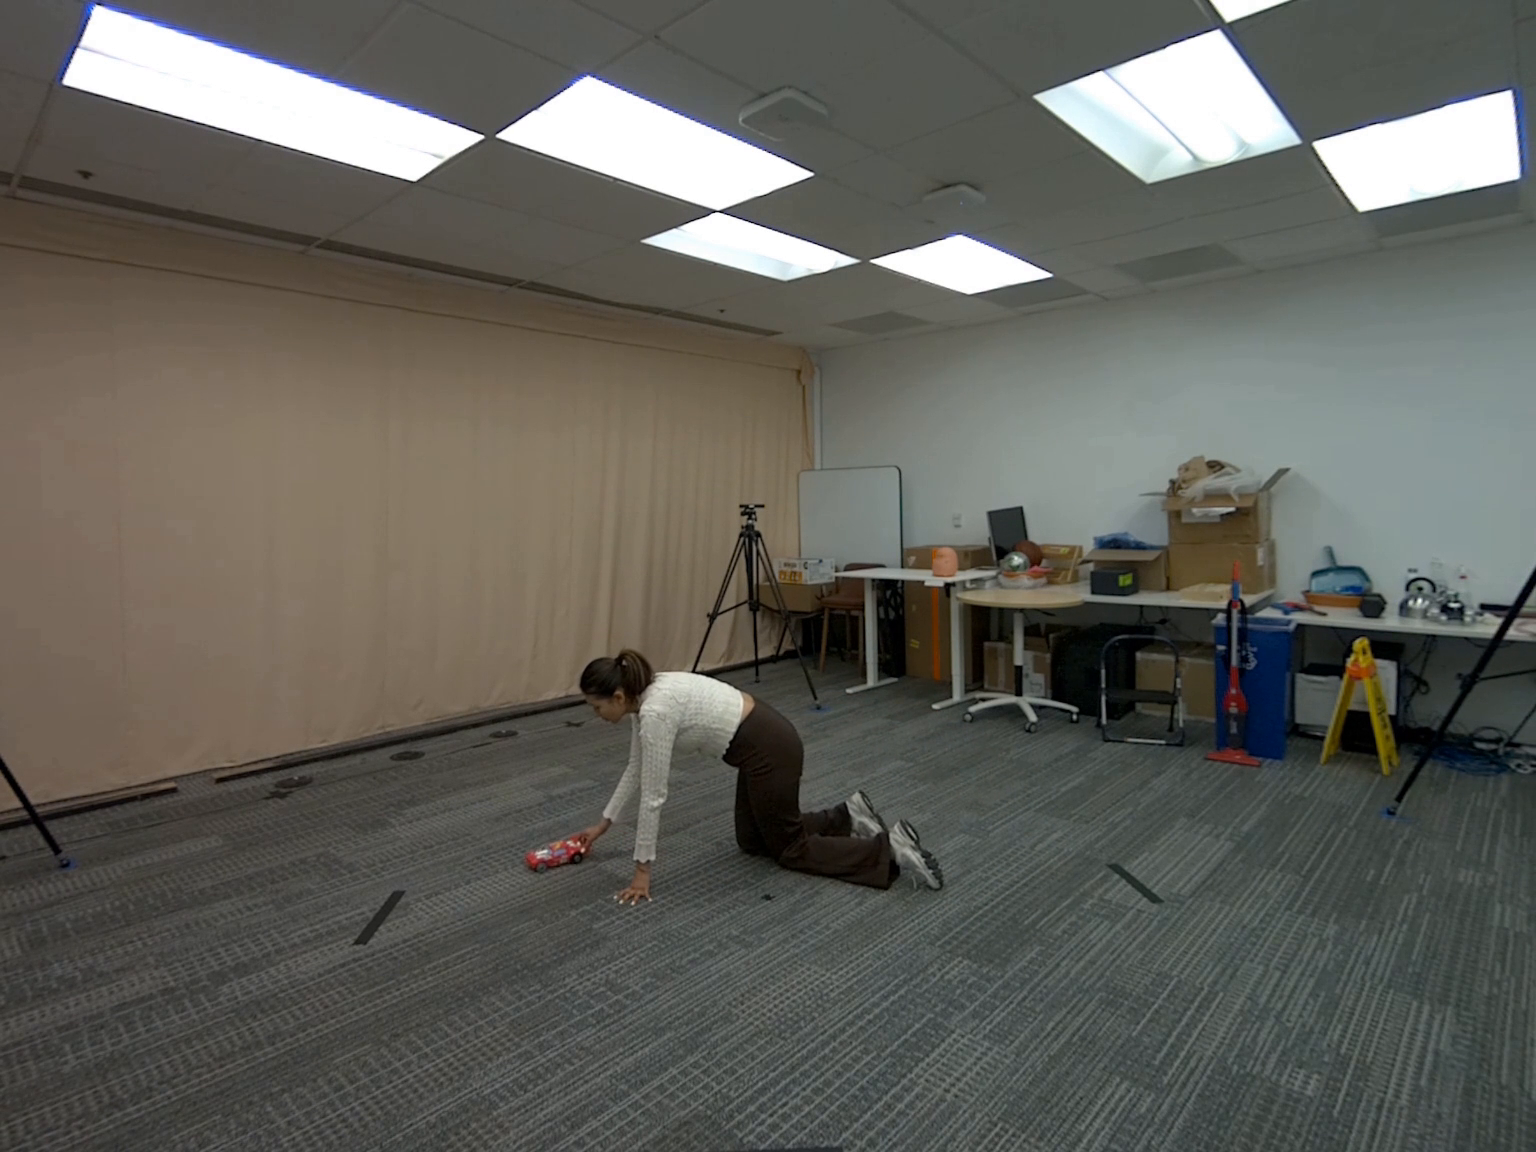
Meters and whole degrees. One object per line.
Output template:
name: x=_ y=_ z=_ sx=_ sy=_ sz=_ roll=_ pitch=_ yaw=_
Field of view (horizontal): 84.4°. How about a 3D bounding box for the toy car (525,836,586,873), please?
toy car: x=-0.826 y=1.105 z=3.325 sx=0.249 sy=0.083 sz=0.134 roll=-15 pitch=9 yaw=-29
